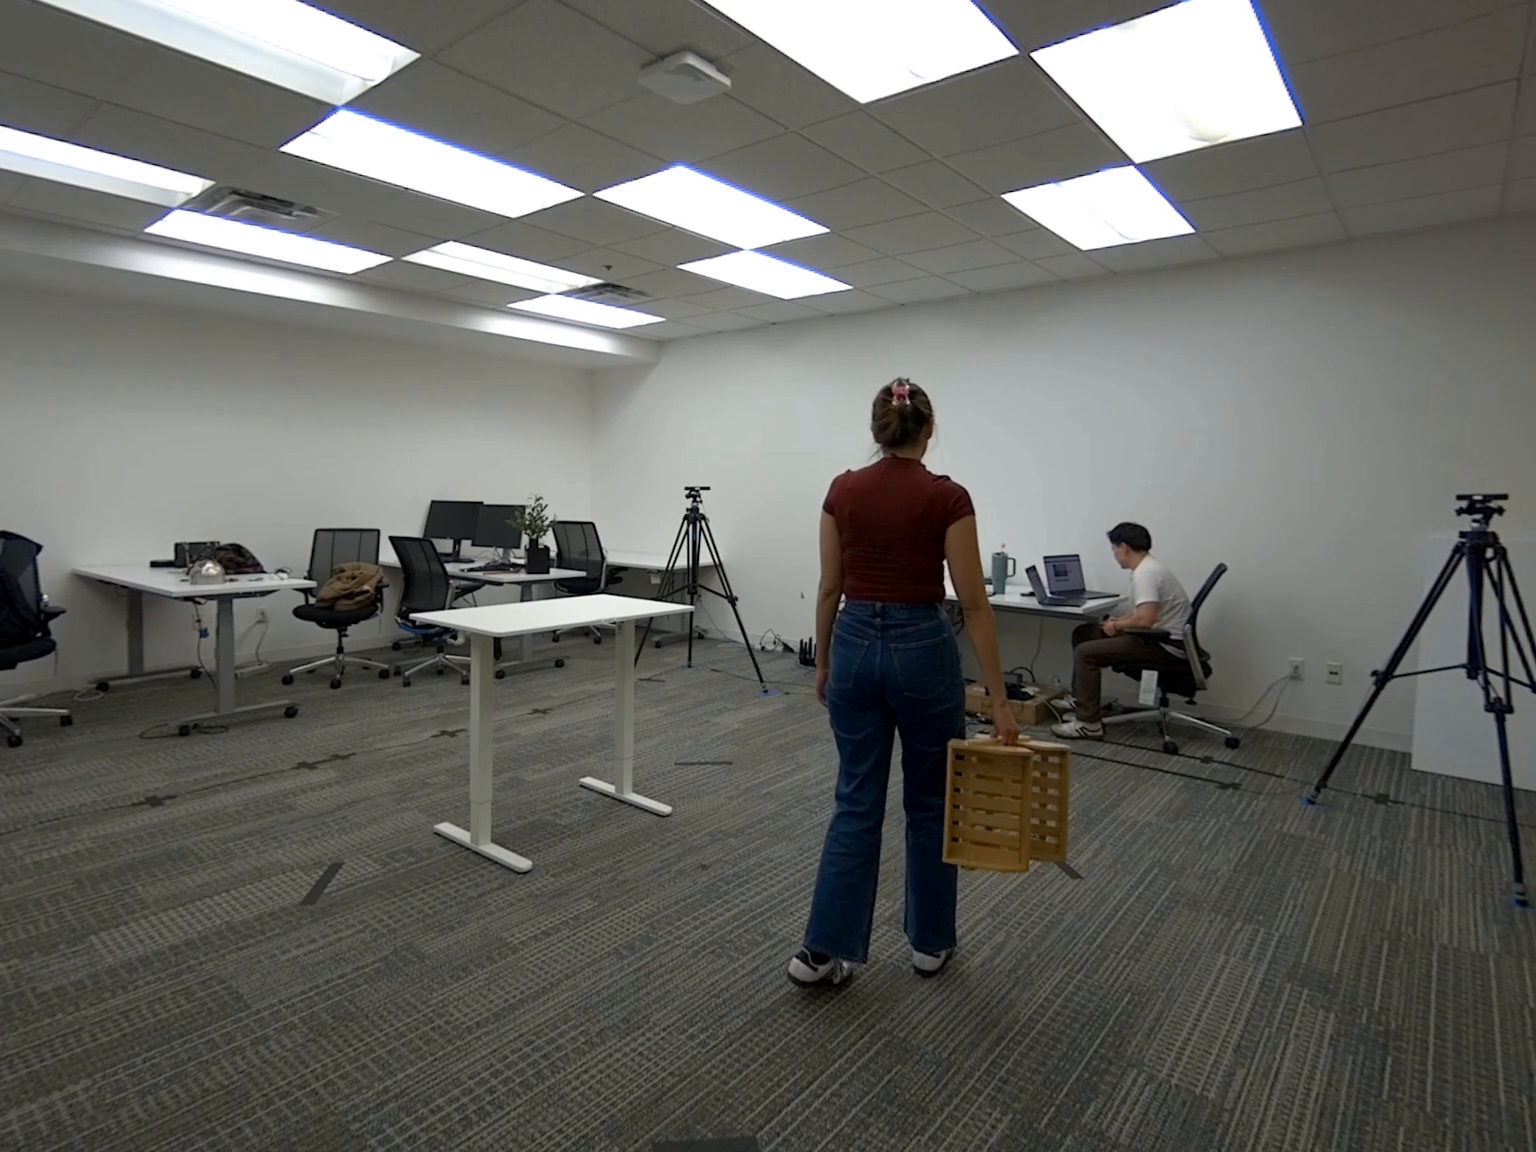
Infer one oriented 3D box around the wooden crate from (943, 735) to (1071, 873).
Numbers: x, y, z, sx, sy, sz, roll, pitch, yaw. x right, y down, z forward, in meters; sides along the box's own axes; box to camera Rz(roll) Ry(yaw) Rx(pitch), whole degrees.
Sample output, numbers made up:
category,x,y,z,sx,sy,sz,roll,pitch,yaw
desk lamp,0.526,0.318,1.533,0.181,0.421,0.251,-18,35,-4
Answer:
category,x,y,z,sx,sy,sz,roll,pitch,yaw
wooden crate,0.649,0.601,2.258,0.308,0.326,0.266,1,-4,20
